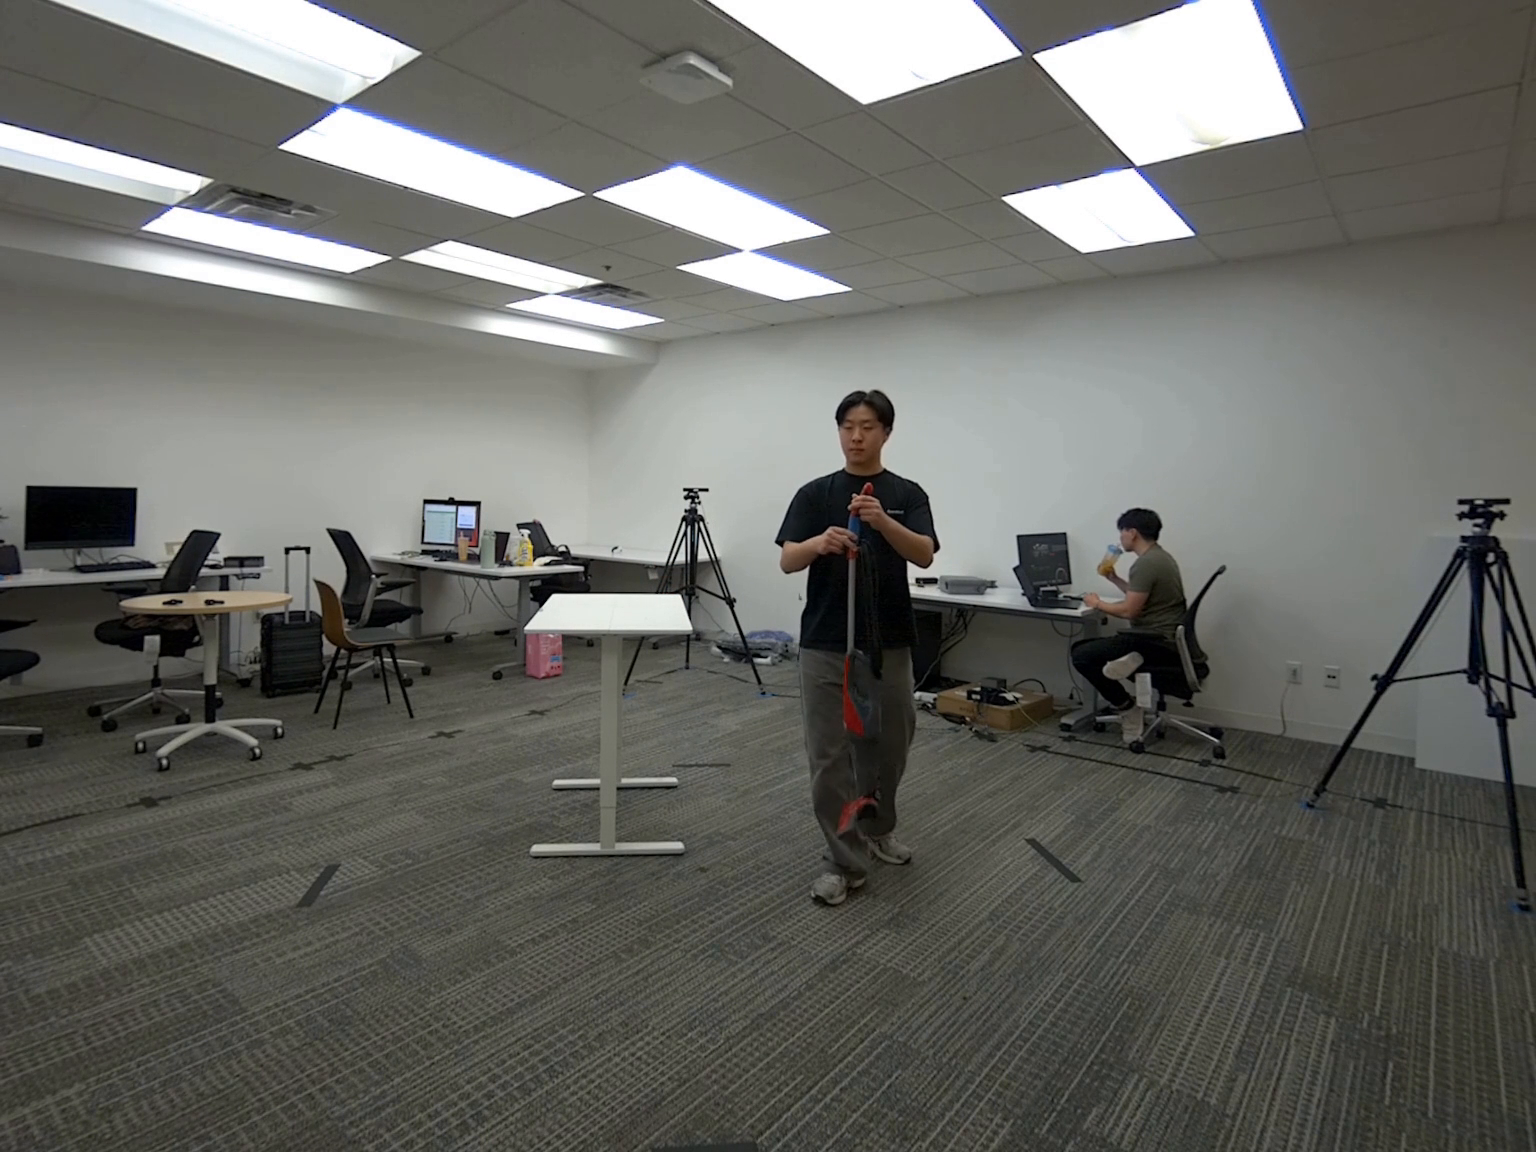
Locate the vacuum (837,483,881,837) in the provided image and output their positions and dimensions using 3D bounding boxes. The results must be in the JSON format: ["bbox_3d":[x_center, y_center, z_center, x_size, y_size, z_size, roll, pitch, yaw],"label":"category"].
[{"bbox_3d":[0.299,0.242,2.696,0.146,1.045,0.250,3,4,12],"label":"vacuum"}]
